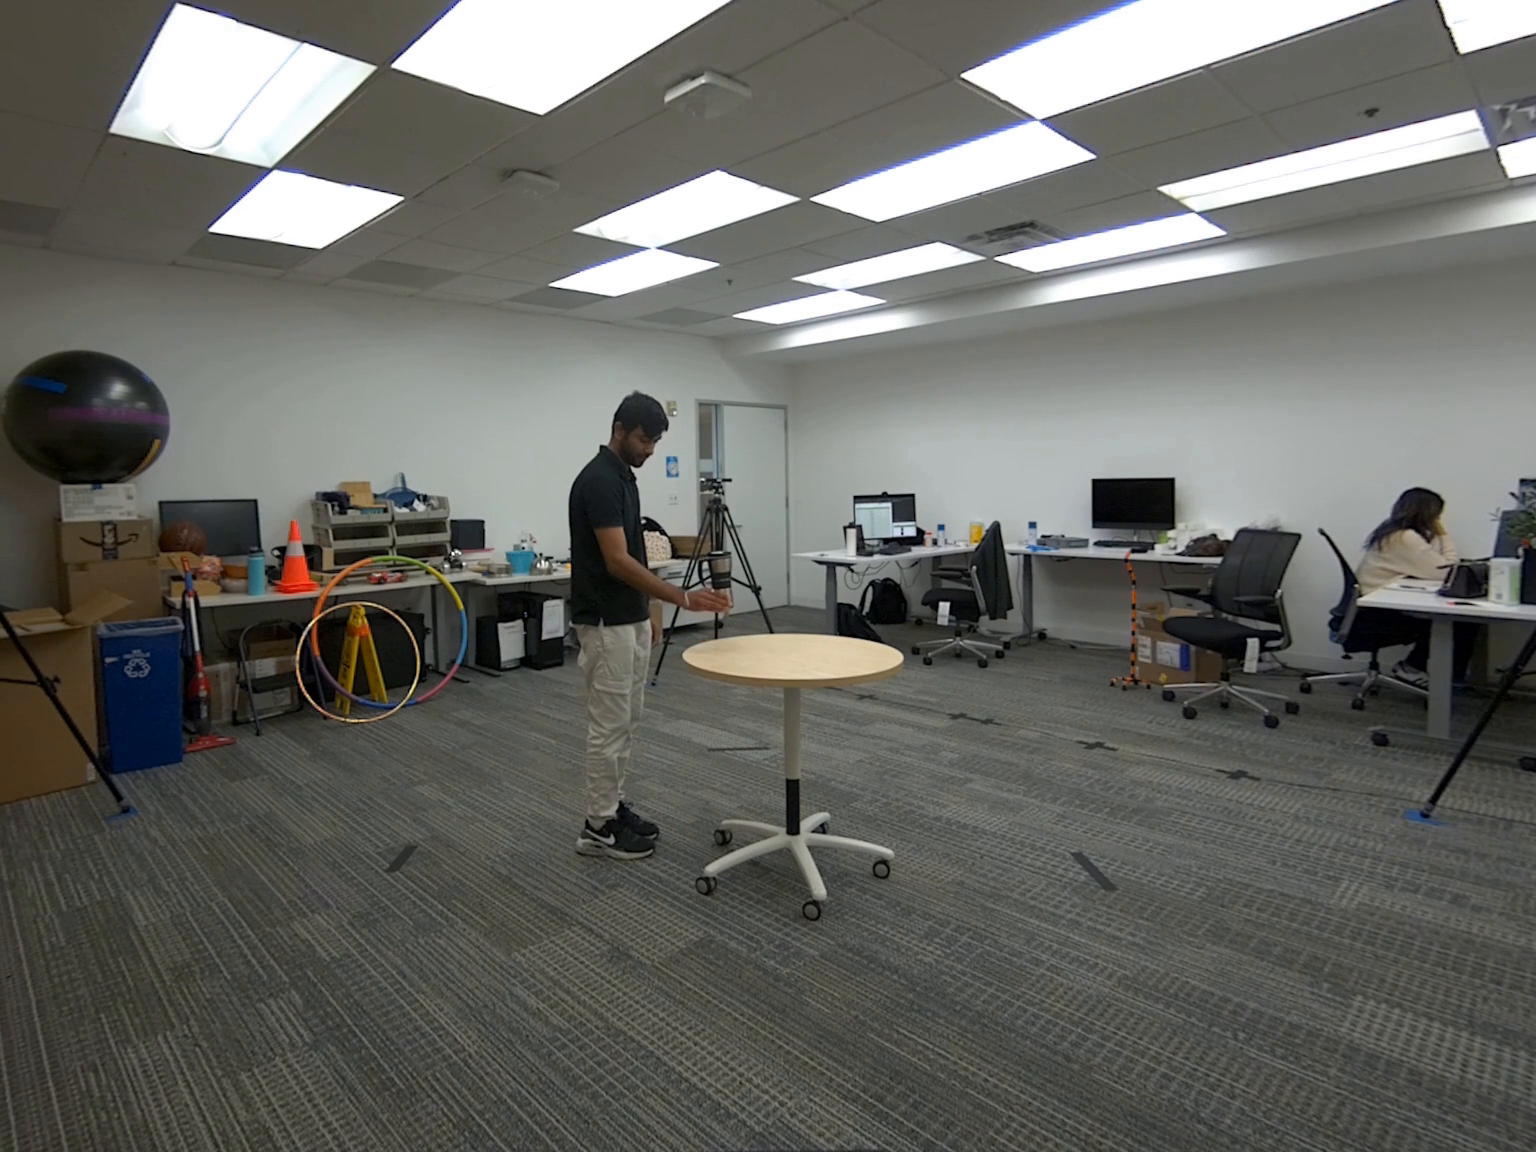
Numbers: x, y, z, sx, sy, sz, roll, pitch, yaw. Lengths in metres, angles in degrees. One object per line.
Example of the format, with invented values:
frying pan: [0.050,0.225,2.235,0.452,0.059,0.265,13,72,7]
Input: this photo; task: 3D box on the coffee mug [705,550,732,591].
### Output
coffee mug: [-0.188,0.021,3.028,0.124,0.201,0.087,-1,8,15]
